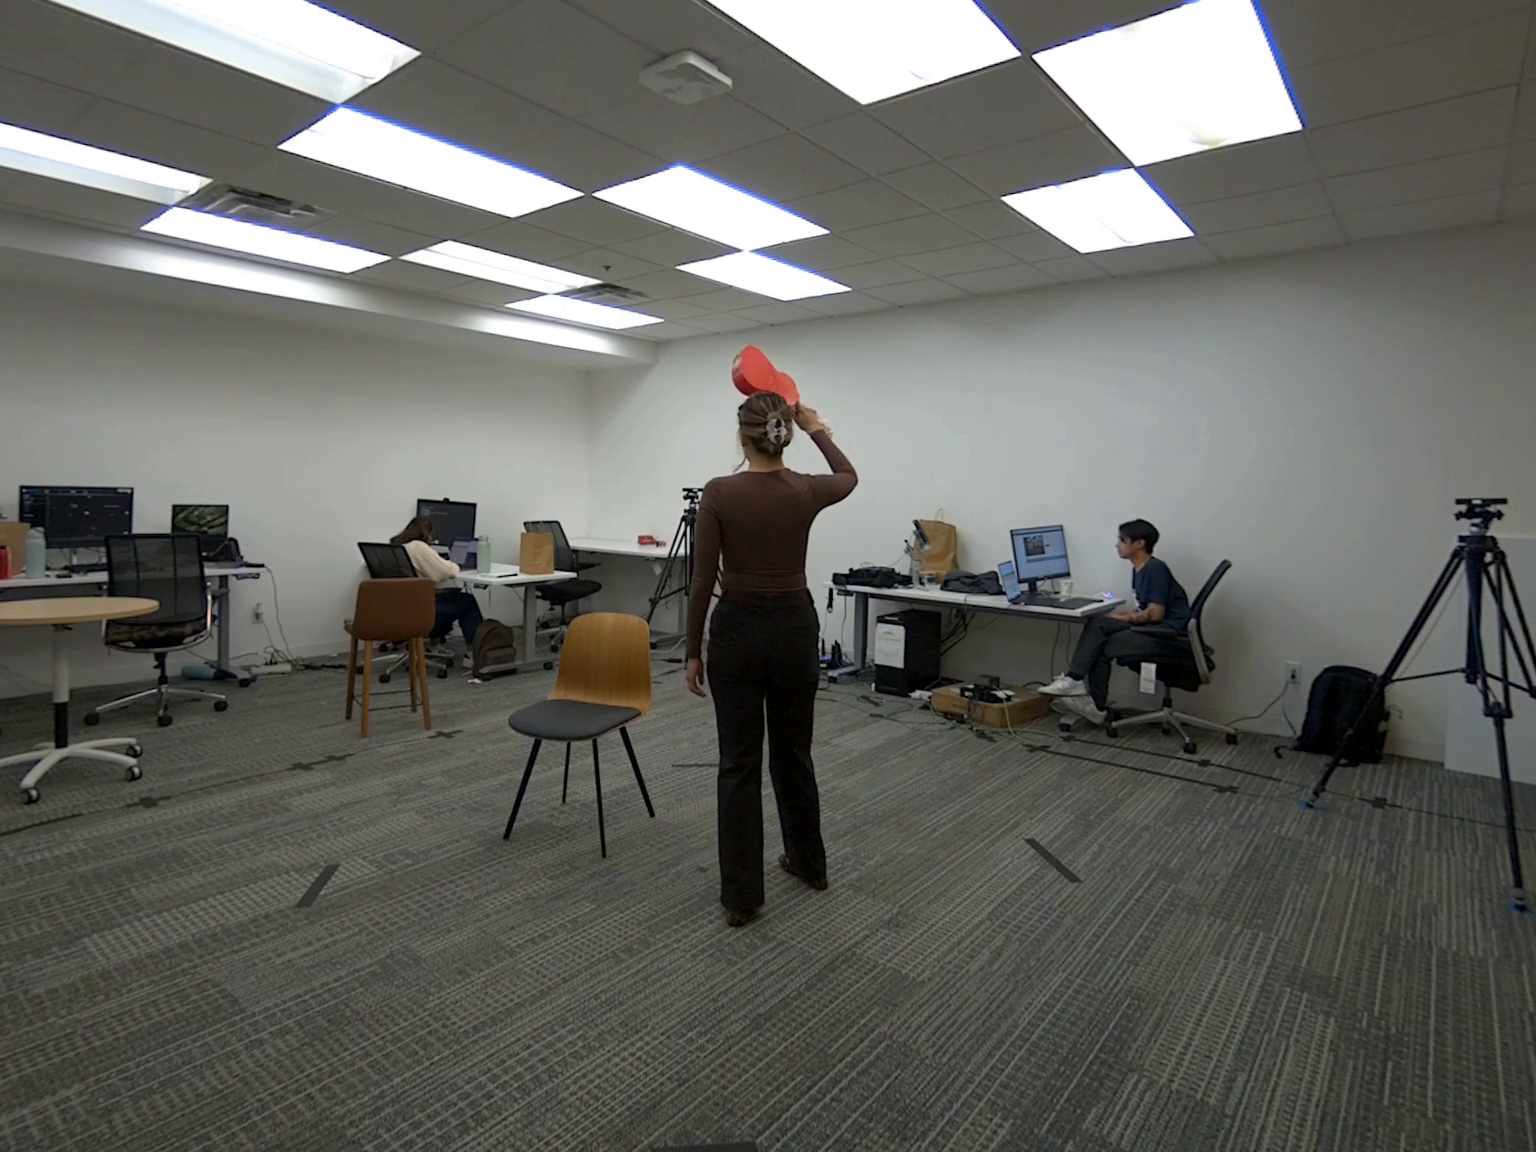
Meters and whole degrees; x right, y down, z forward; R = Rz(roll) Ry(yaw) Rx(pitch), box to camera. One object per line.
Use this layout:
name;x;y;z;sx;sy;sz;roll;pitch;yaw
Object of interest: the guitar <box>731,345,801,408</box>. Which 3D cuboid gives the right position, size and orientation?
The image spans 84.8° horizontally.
guitar;0.058;-0.678;3.151;0.480;0.198;0.071;22;-38;-33
